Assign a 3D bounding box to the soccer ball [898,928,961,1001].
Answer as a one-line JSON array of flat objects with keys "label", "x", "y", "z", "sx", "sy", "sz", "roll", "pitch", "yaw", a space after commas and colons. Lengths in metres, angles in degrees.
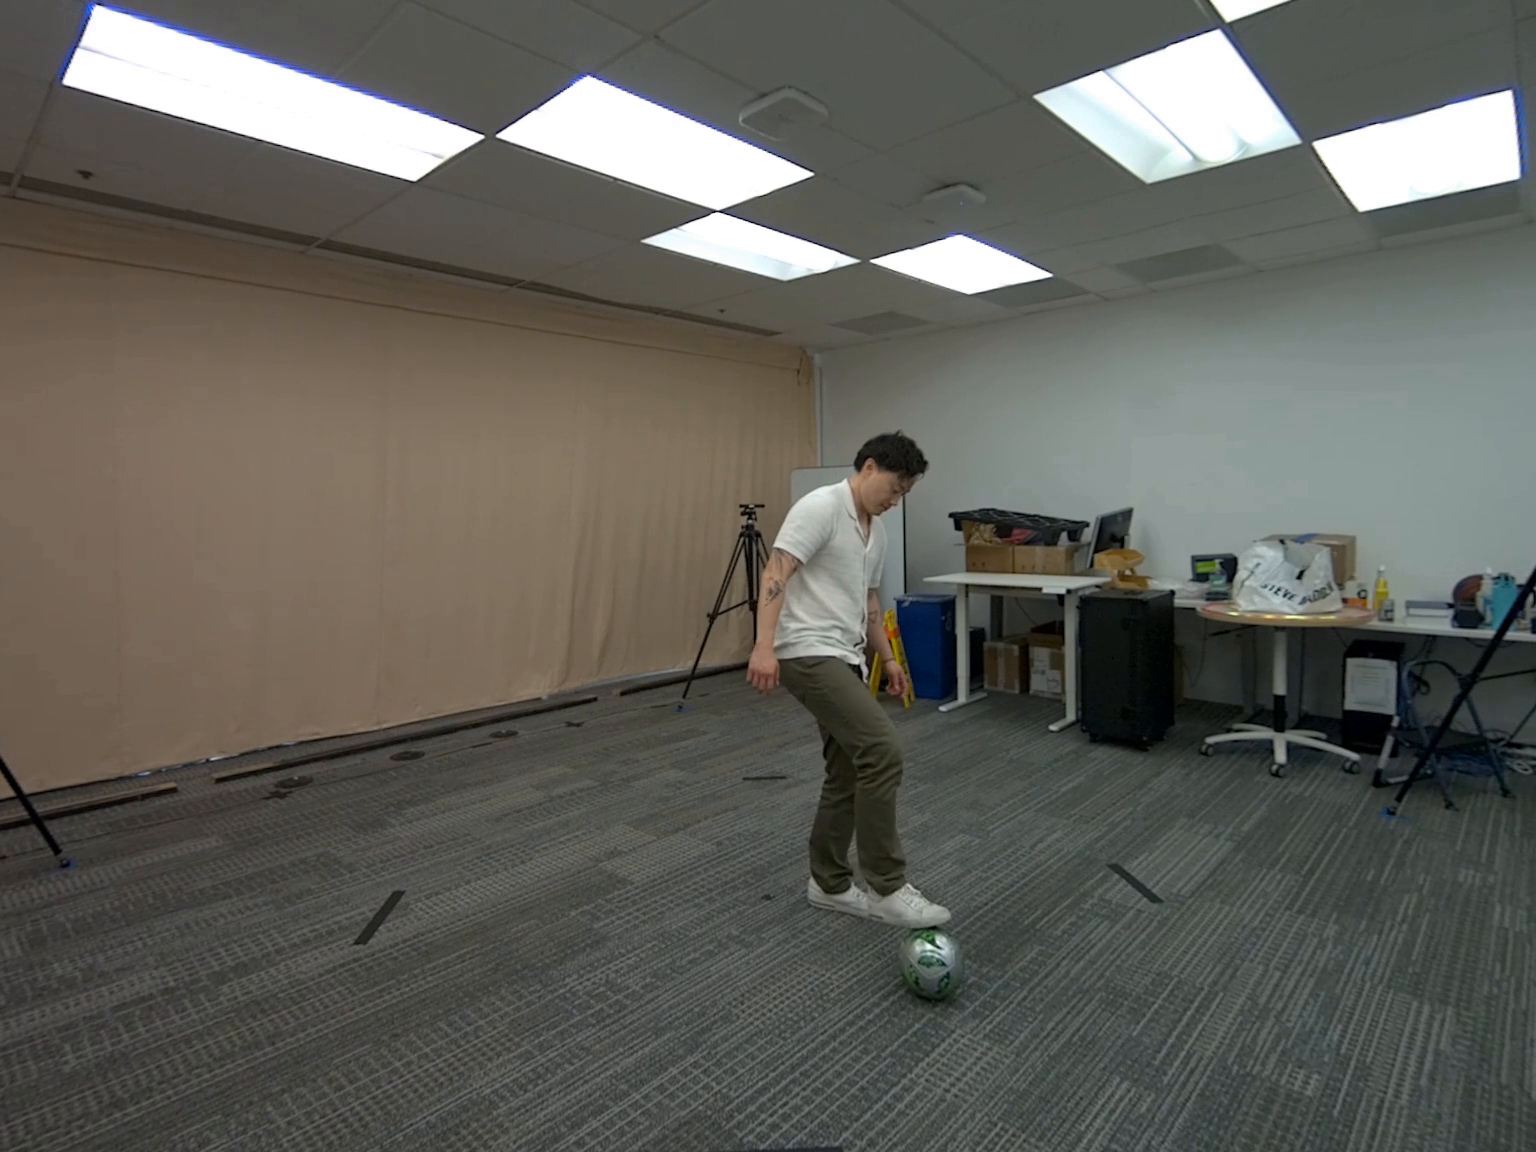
[{"label": "soccer ball", "x": 0.464, "y": 1.094, "z": 2.382, "sx": 0.187, "sy": 0.187, "sz": 0.188, "roll": -1, "pitch": 4, "yaw": -2}]
